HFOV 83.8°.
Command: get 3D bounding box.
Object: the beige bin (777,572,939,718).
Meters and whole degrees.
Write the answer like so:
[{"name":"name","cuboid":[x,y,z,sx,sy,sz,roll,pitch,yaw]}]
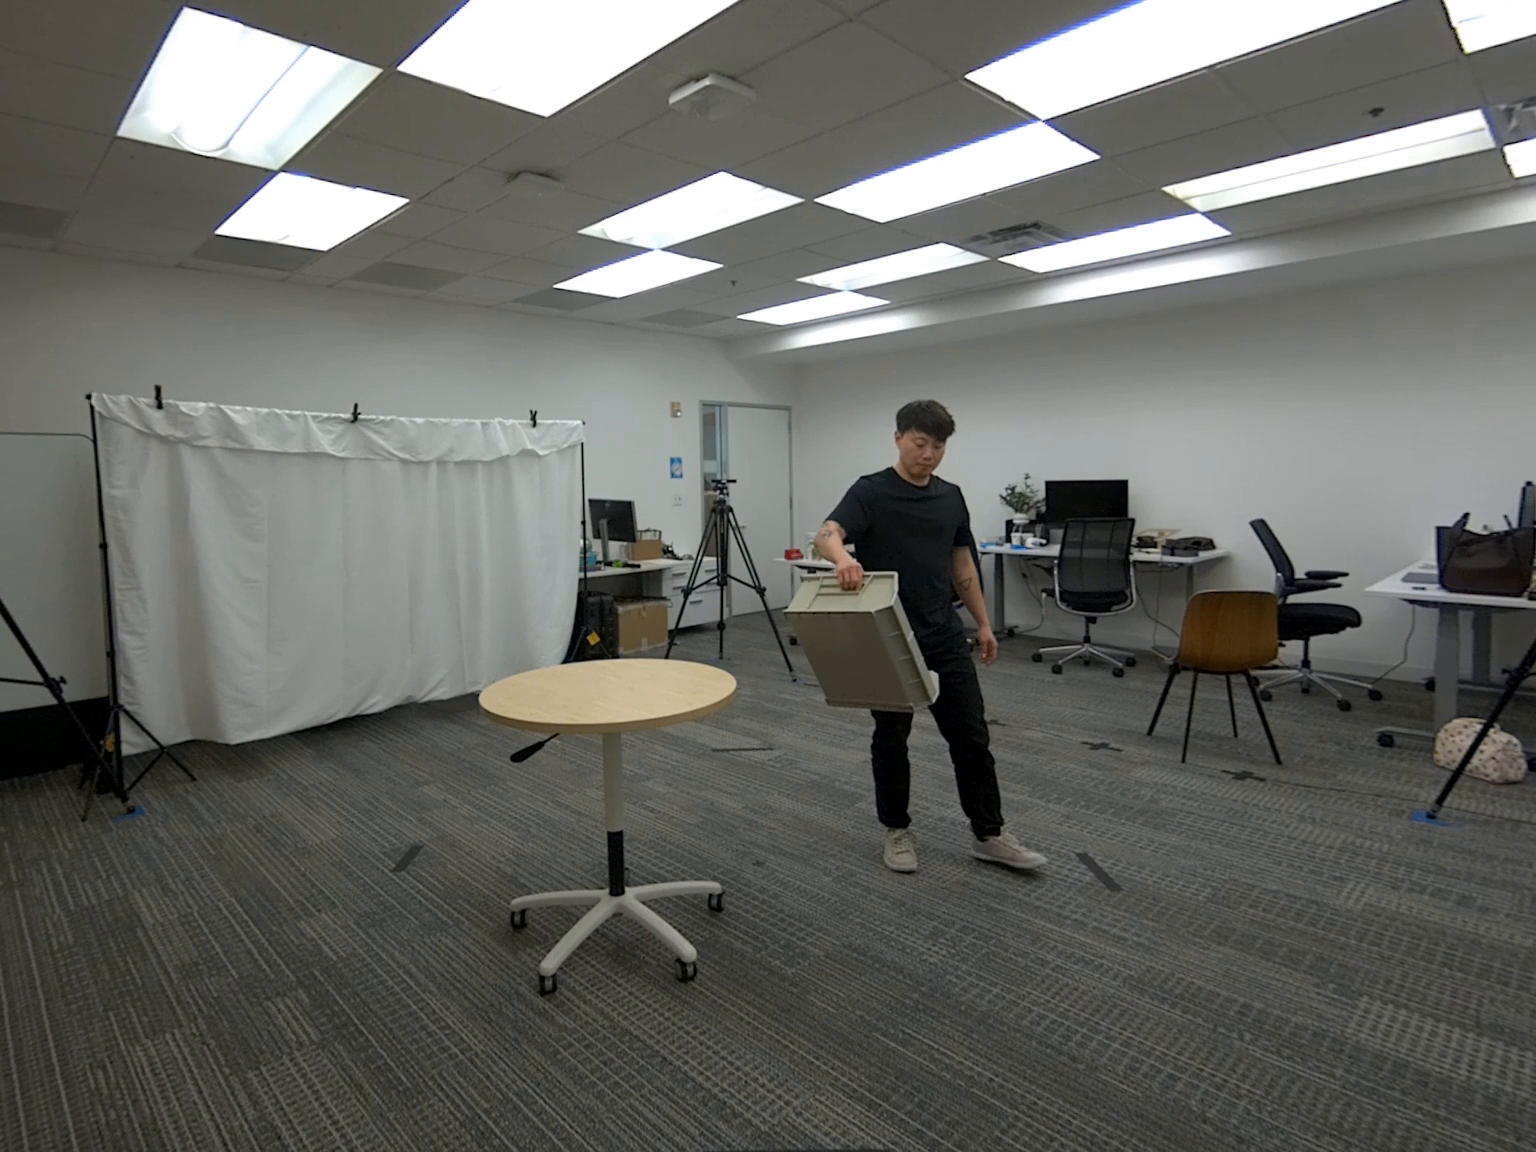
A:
[{"name":"beige bin","cuboid":[0.303,0.209,2.694,0.387,0.410,0.189,-3,35,38]}]
